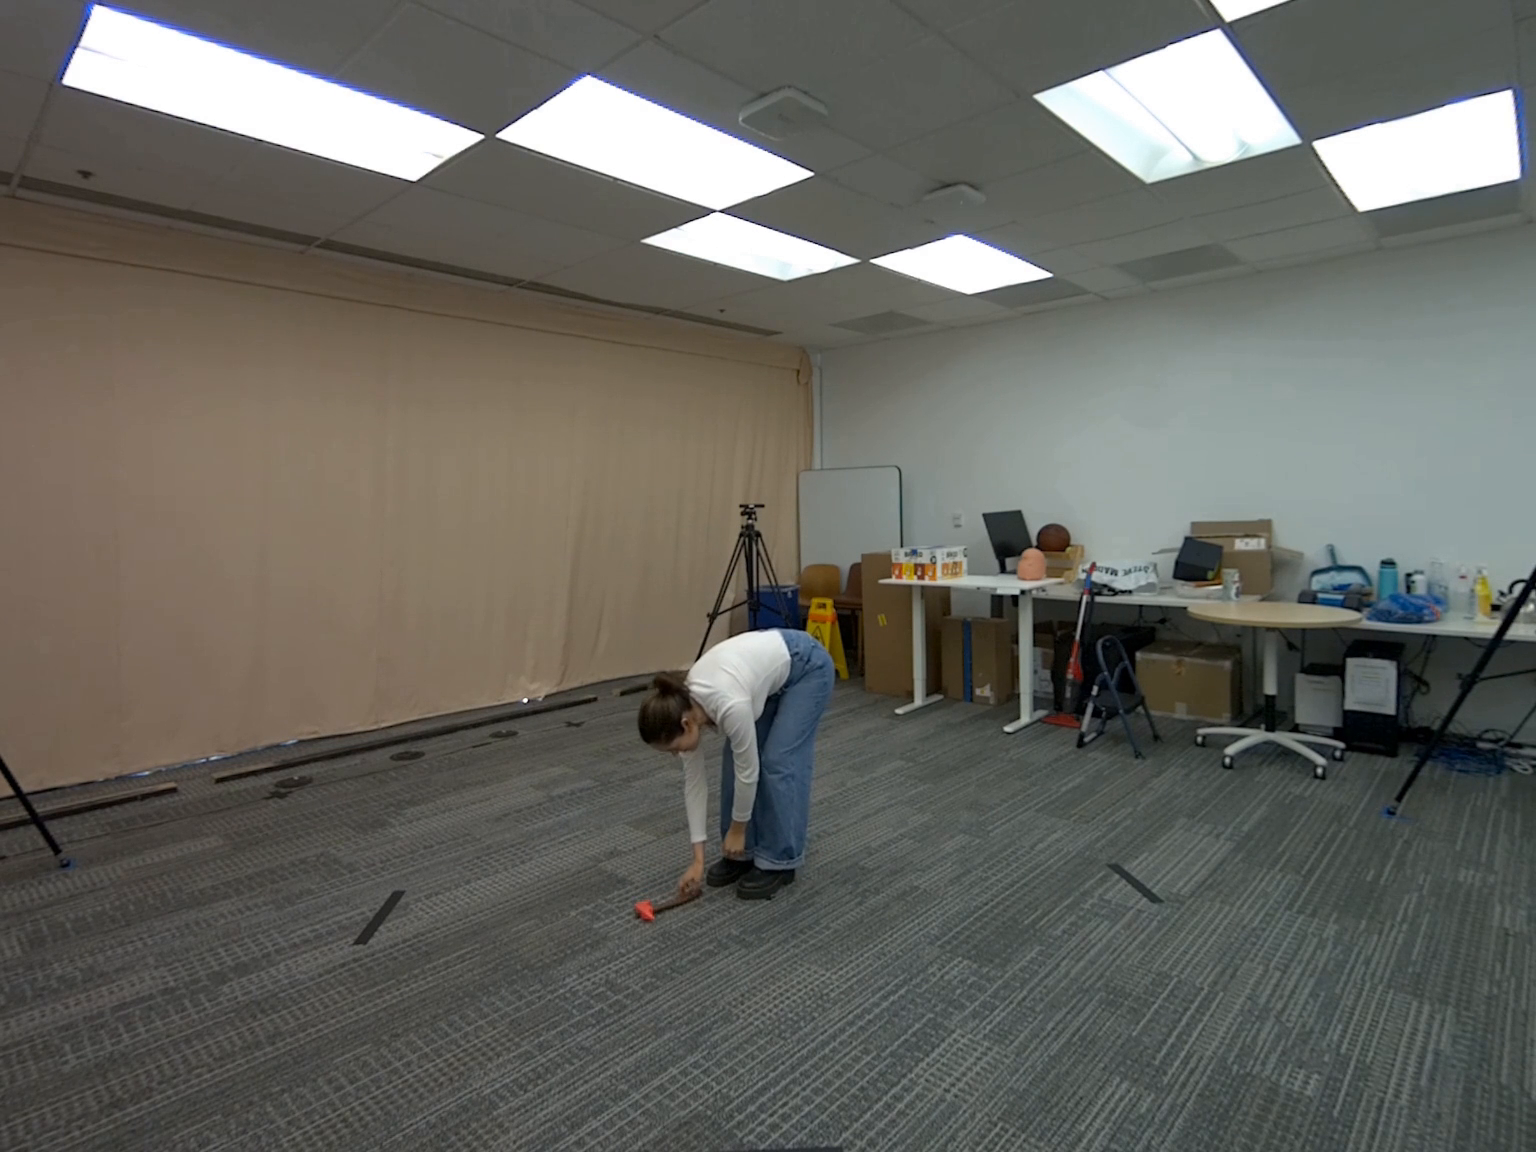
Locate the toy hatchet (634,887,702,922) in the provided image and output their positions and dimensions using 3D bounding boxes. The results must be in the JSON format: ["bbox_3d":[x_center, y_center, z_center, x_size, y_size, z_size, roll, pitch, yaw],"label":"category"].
[{"bbox_3d":[-0.356,1.138,2.944,0.135,0.029,0.262,0,2,40],"label":"toy hatchet"}]
